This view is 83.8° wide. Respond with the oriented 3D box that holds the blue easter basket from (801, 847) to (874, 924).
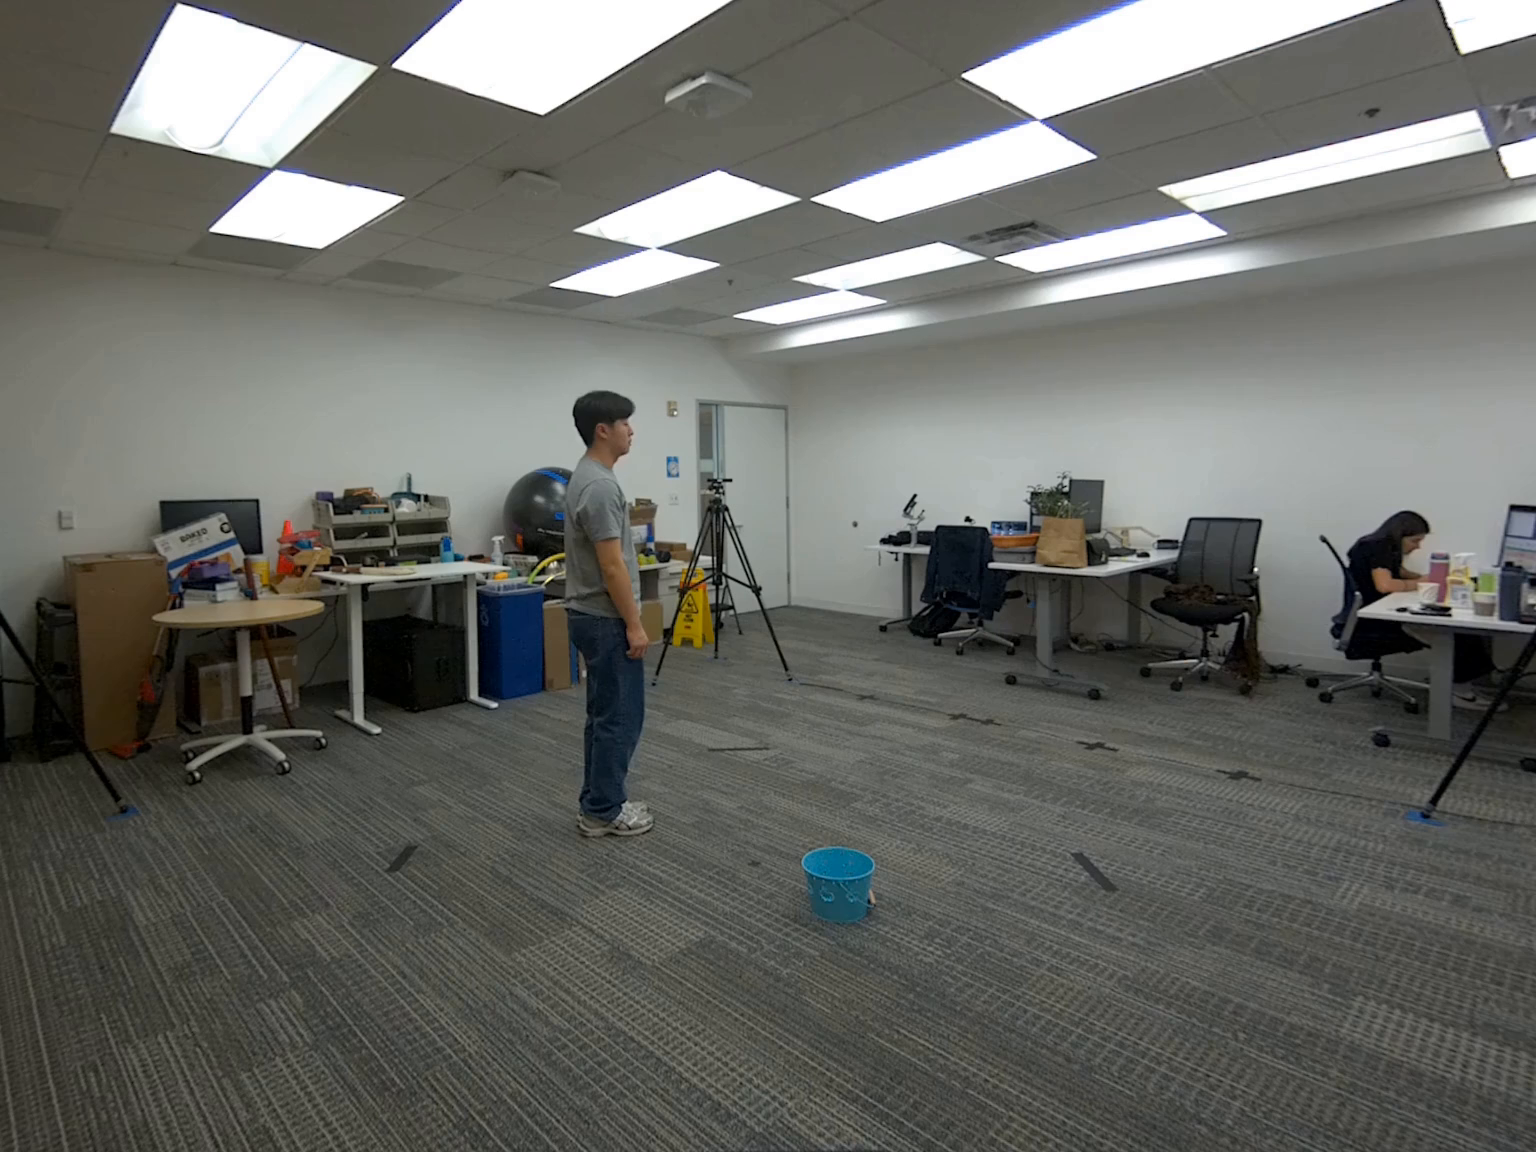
[{"bbox_3d":[0.235,1.002,2.759,0.243,0.155,0.245,-2,5,-2],"label":"blue easter basket"}]
